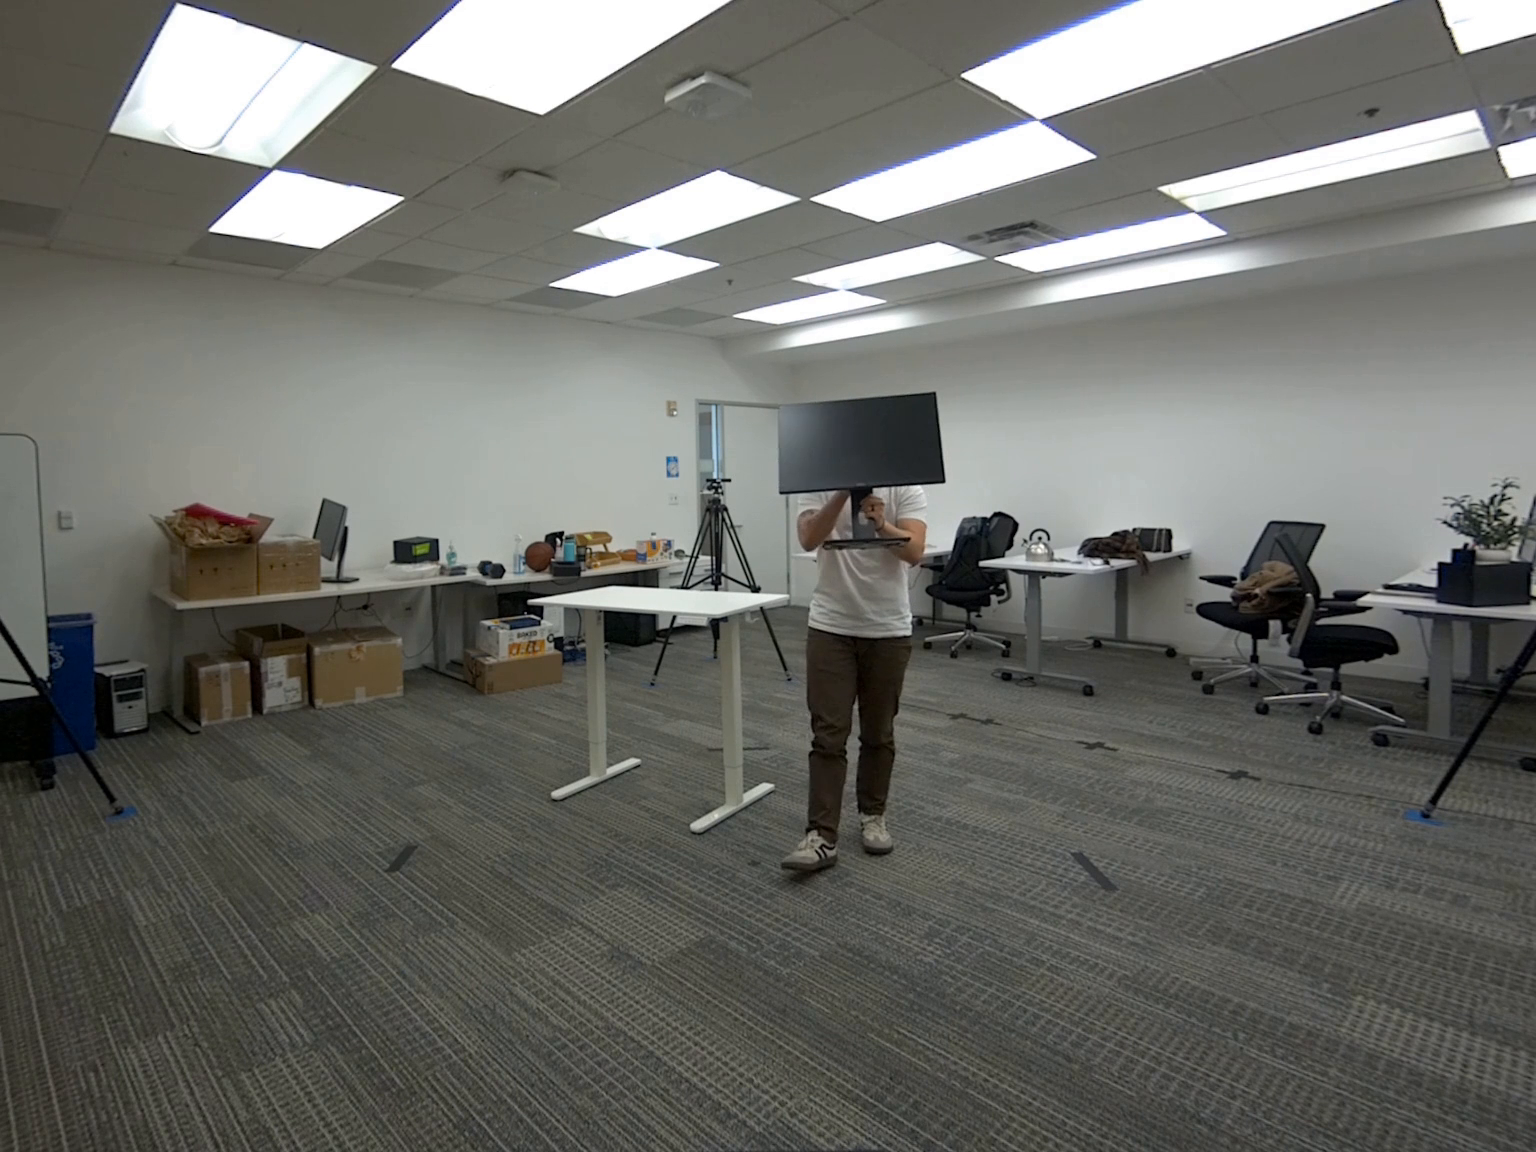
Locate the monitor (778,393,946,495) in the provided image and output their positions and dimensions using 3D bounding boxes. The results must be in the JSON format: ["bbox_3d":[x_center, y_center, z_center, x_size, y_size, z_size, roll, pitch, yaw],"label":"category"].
[{"bbox_3d":[0.307,-0.354,2.860,0.543,0.529,0.183,-3,-13,8],"label":"monitor"}]
